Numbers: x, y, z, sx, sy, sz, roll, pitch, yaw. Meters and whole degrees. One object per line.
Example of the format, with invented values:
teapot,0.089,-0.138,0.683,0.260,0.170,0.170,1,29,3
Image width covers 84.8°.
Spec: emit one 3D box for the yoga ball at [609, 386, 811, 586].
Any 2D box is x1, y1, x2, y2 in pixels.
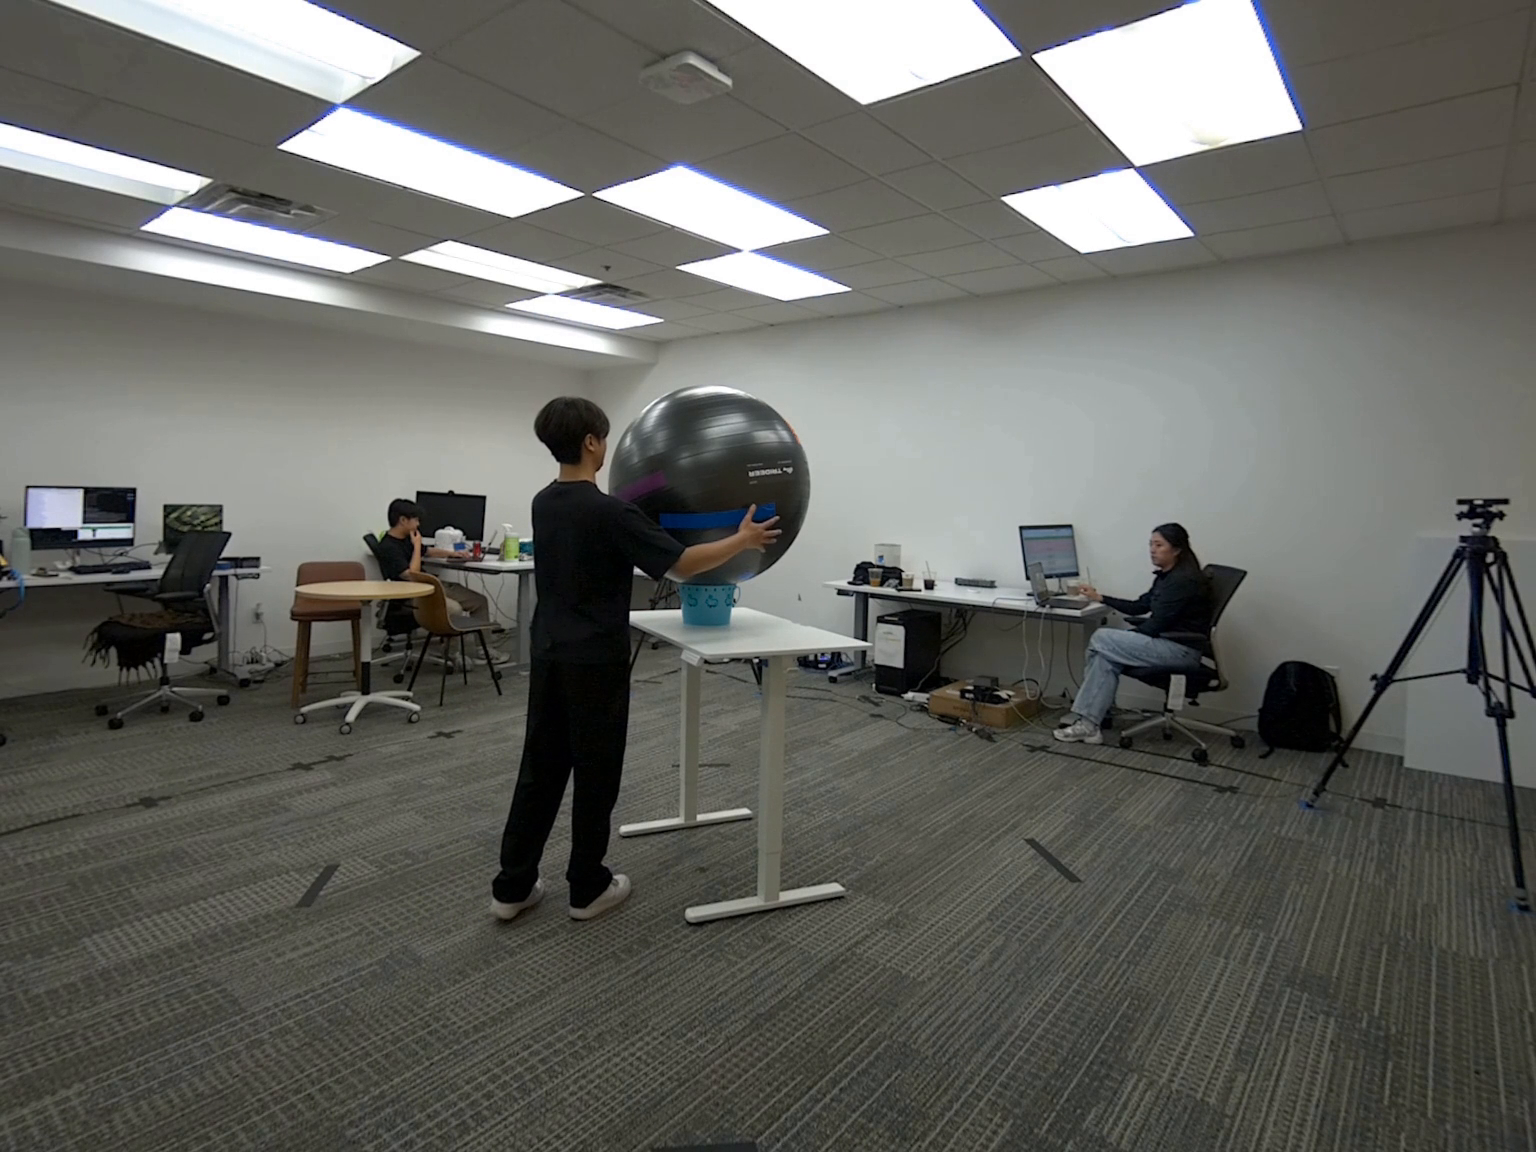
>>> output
yoga ball,-0.231,-0.340,3.222,0.757,0.756,0.762,1,4,-2
